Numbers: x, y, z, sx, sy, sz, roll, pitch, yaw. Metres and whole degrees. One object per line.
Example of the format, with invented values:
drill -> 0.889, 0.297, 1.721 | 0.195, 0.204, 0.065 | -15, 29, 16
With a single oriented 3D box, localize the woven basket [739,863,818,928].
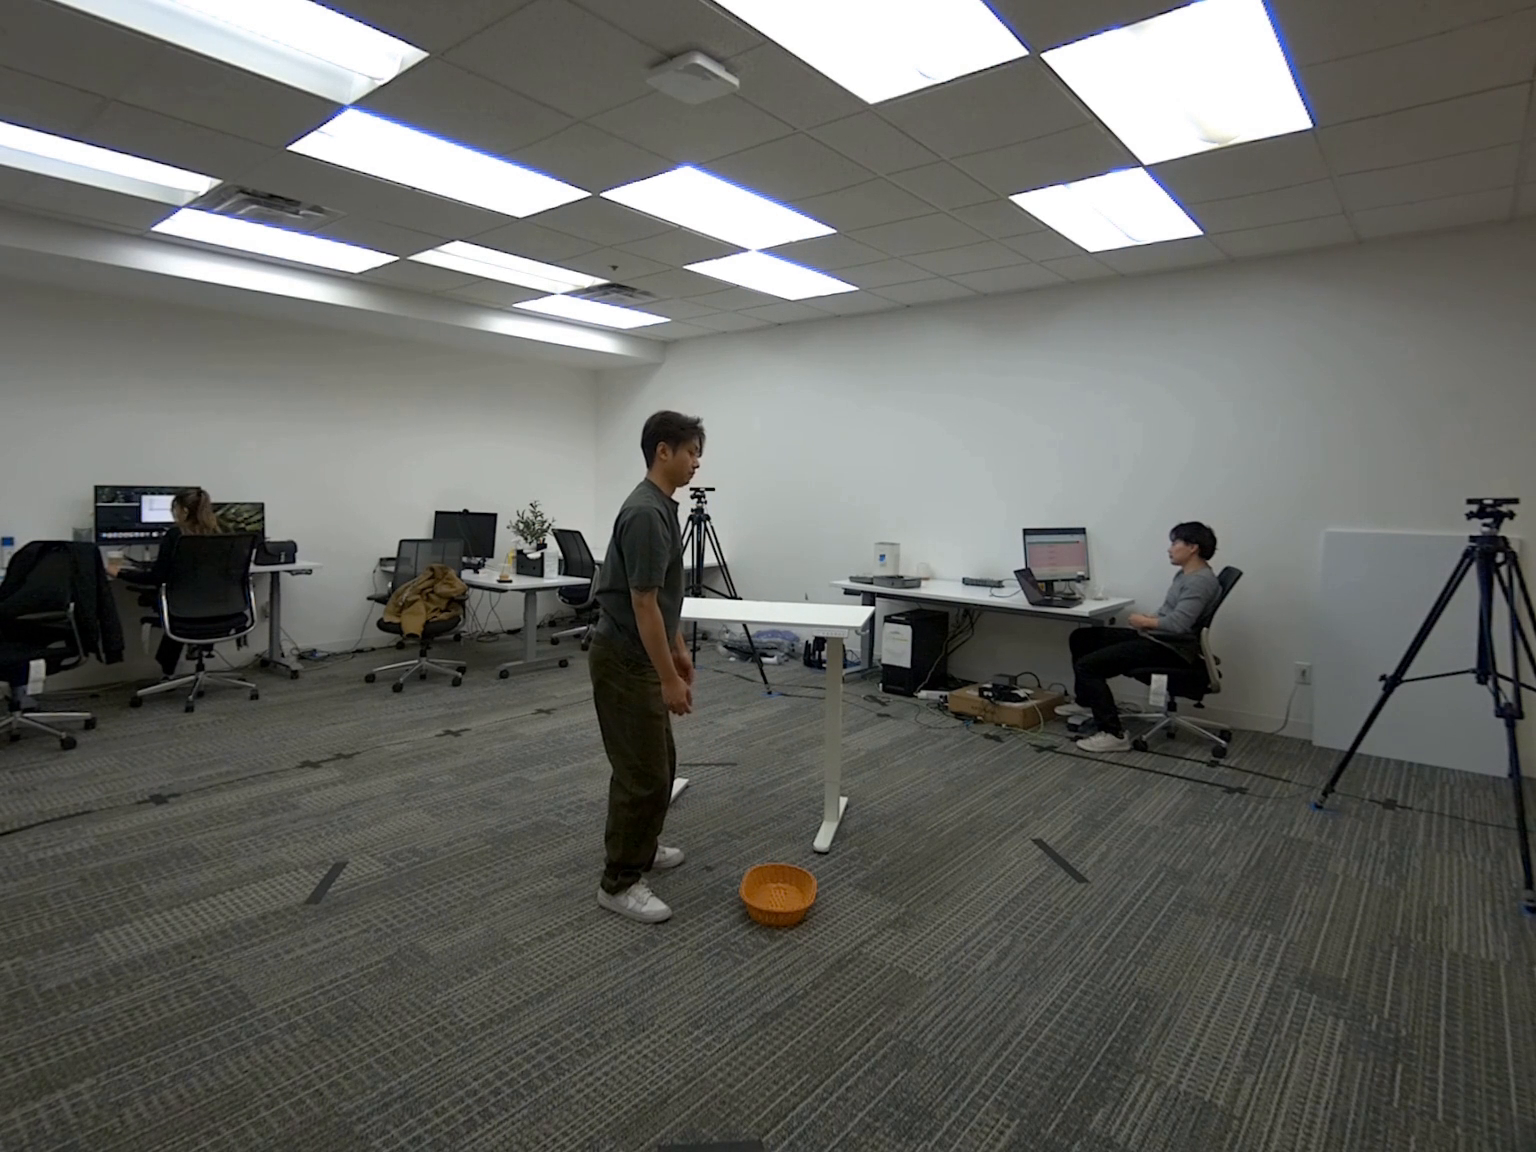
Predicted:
woven basket -> 0.027, 1.063, 2.836 | 0.256, 0.073, 0.347 | 3, 6, 11
